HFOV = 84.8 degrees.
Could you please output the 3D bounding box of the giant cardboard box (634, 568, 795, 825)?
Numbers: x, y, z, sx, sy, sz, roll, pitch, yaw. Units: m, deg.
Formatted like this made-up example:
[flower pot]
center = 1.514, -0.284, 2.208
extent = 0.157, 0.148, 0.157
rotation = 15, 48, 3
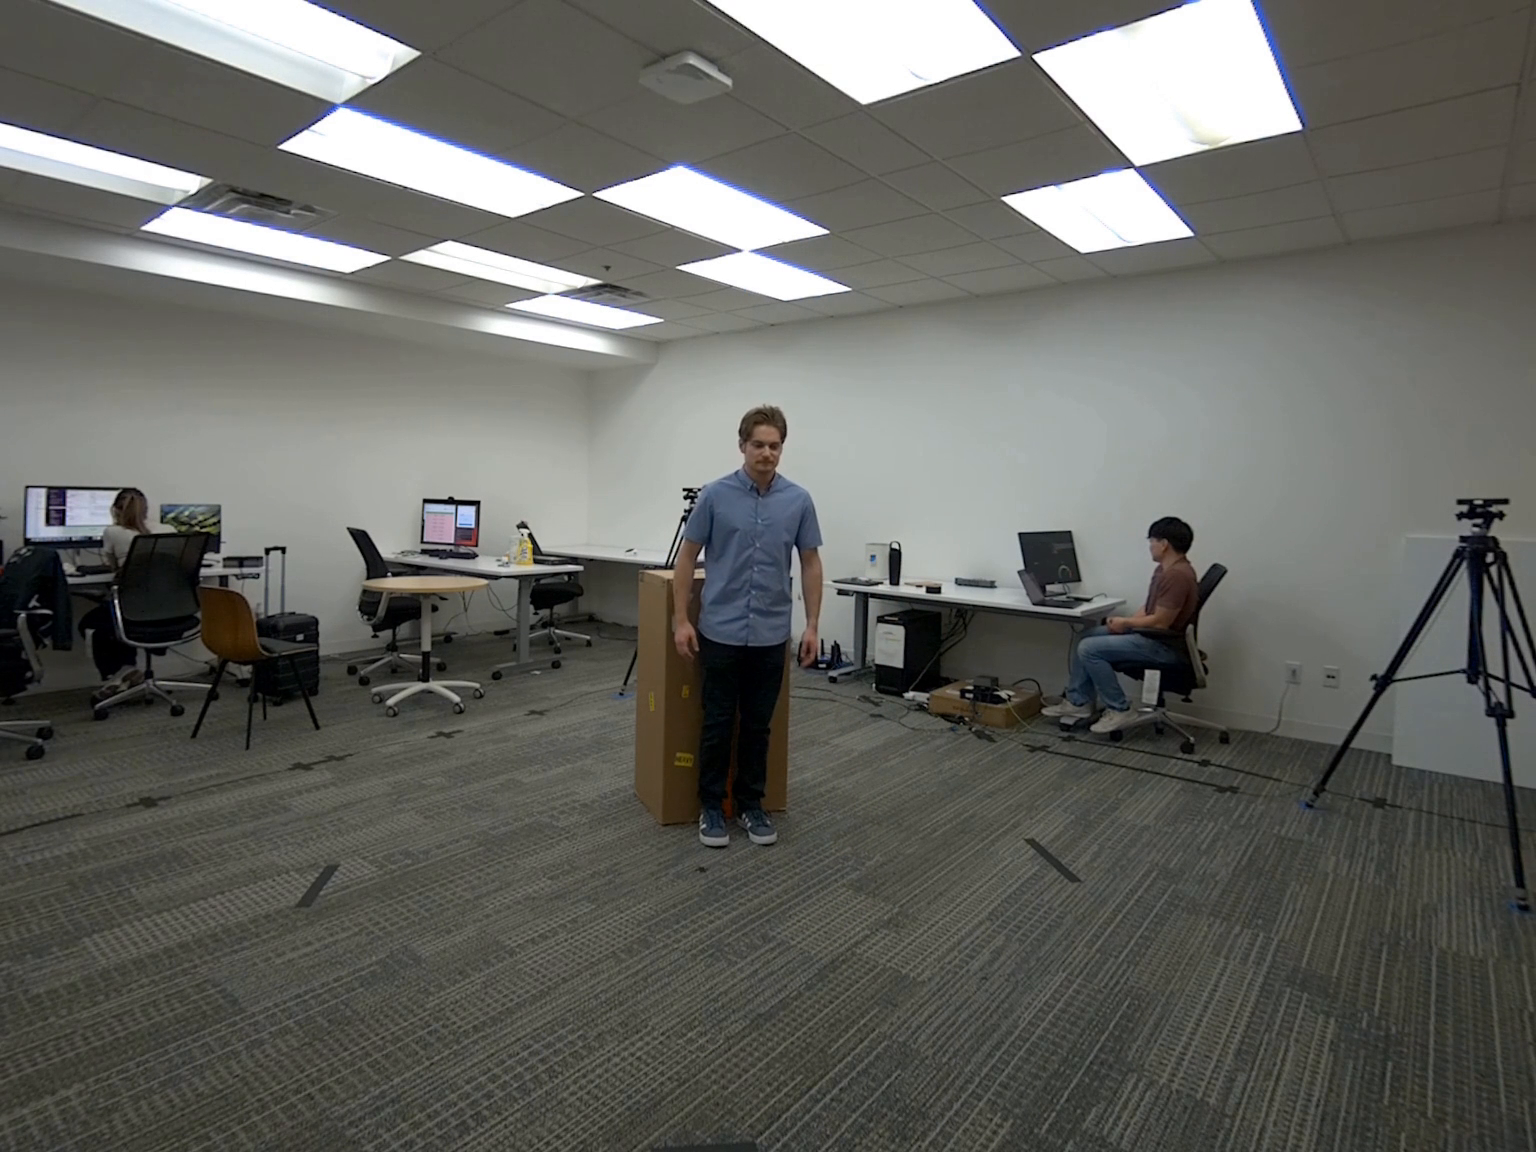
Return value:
[giant cardboard box]
center = -0.265, 0.500, 3.782
extent = 0.571, 1.025, 0.458
rotation = 0, 2, -24
